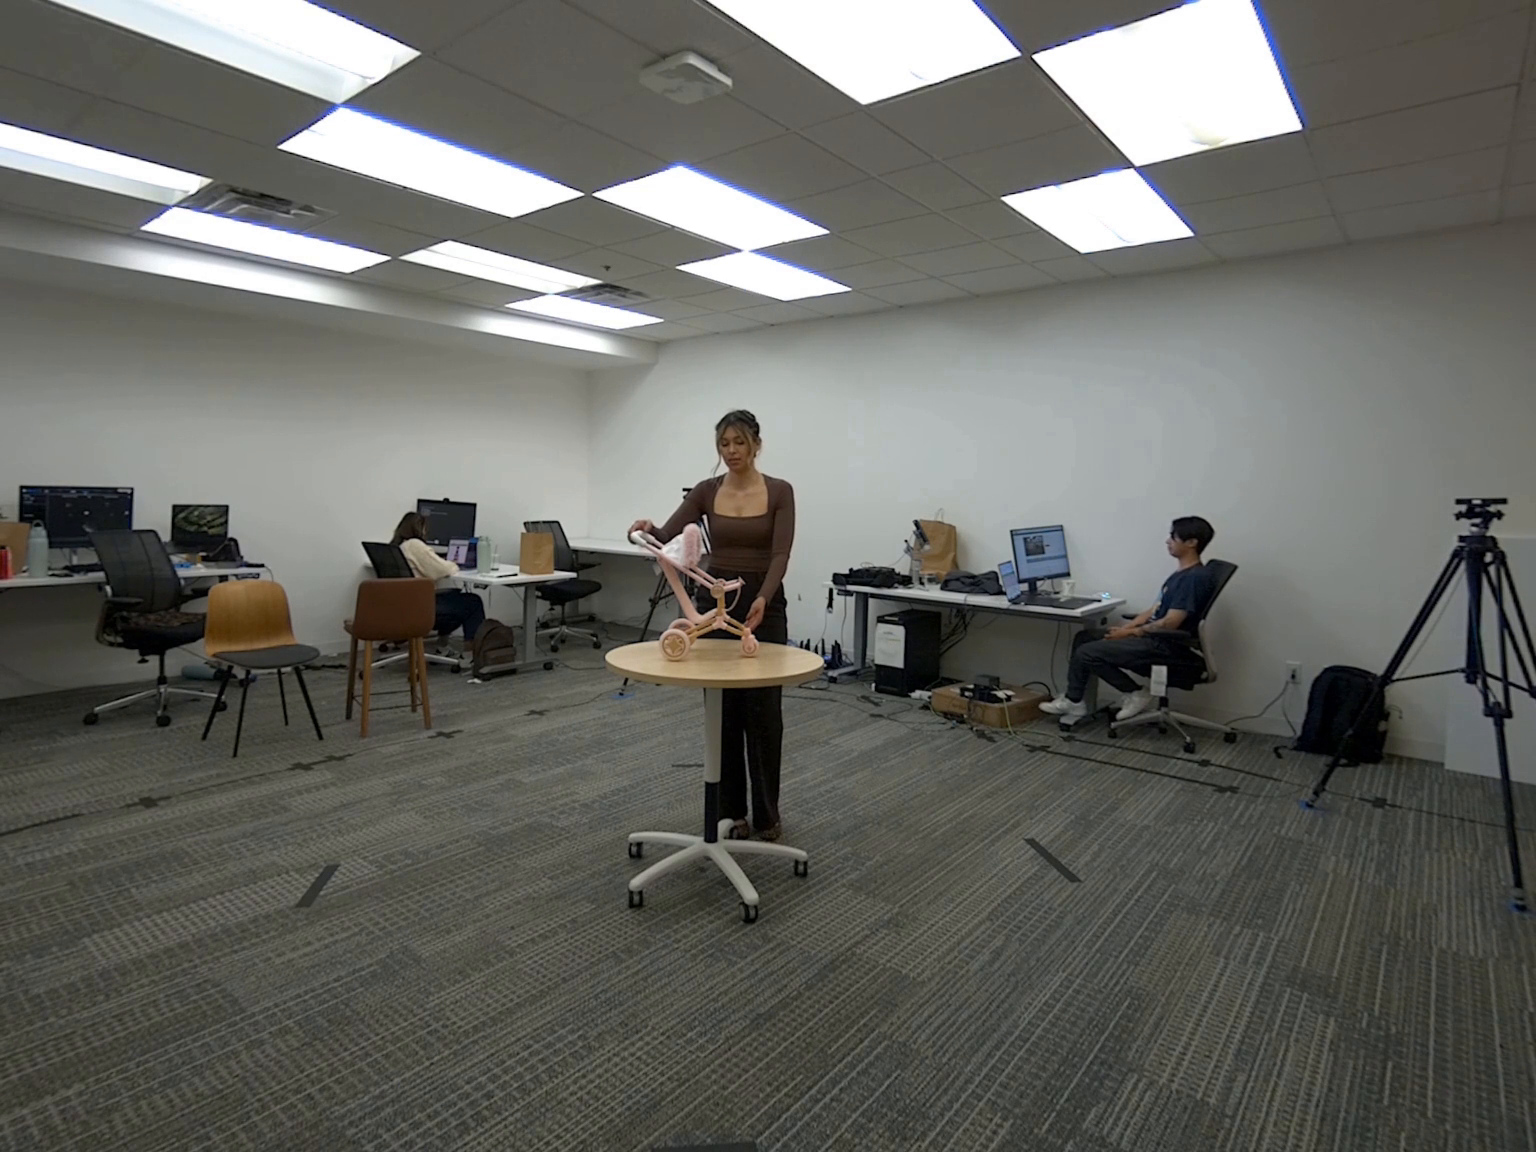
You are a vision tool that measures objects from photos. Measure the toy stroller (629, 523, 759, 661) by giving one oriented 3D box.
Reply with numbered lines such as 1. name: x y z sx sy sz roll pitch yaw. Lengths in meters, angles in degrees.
1. toy stroller: -0.252 0.055 3.011 0.343 0.534 0.280 -14 1 7
